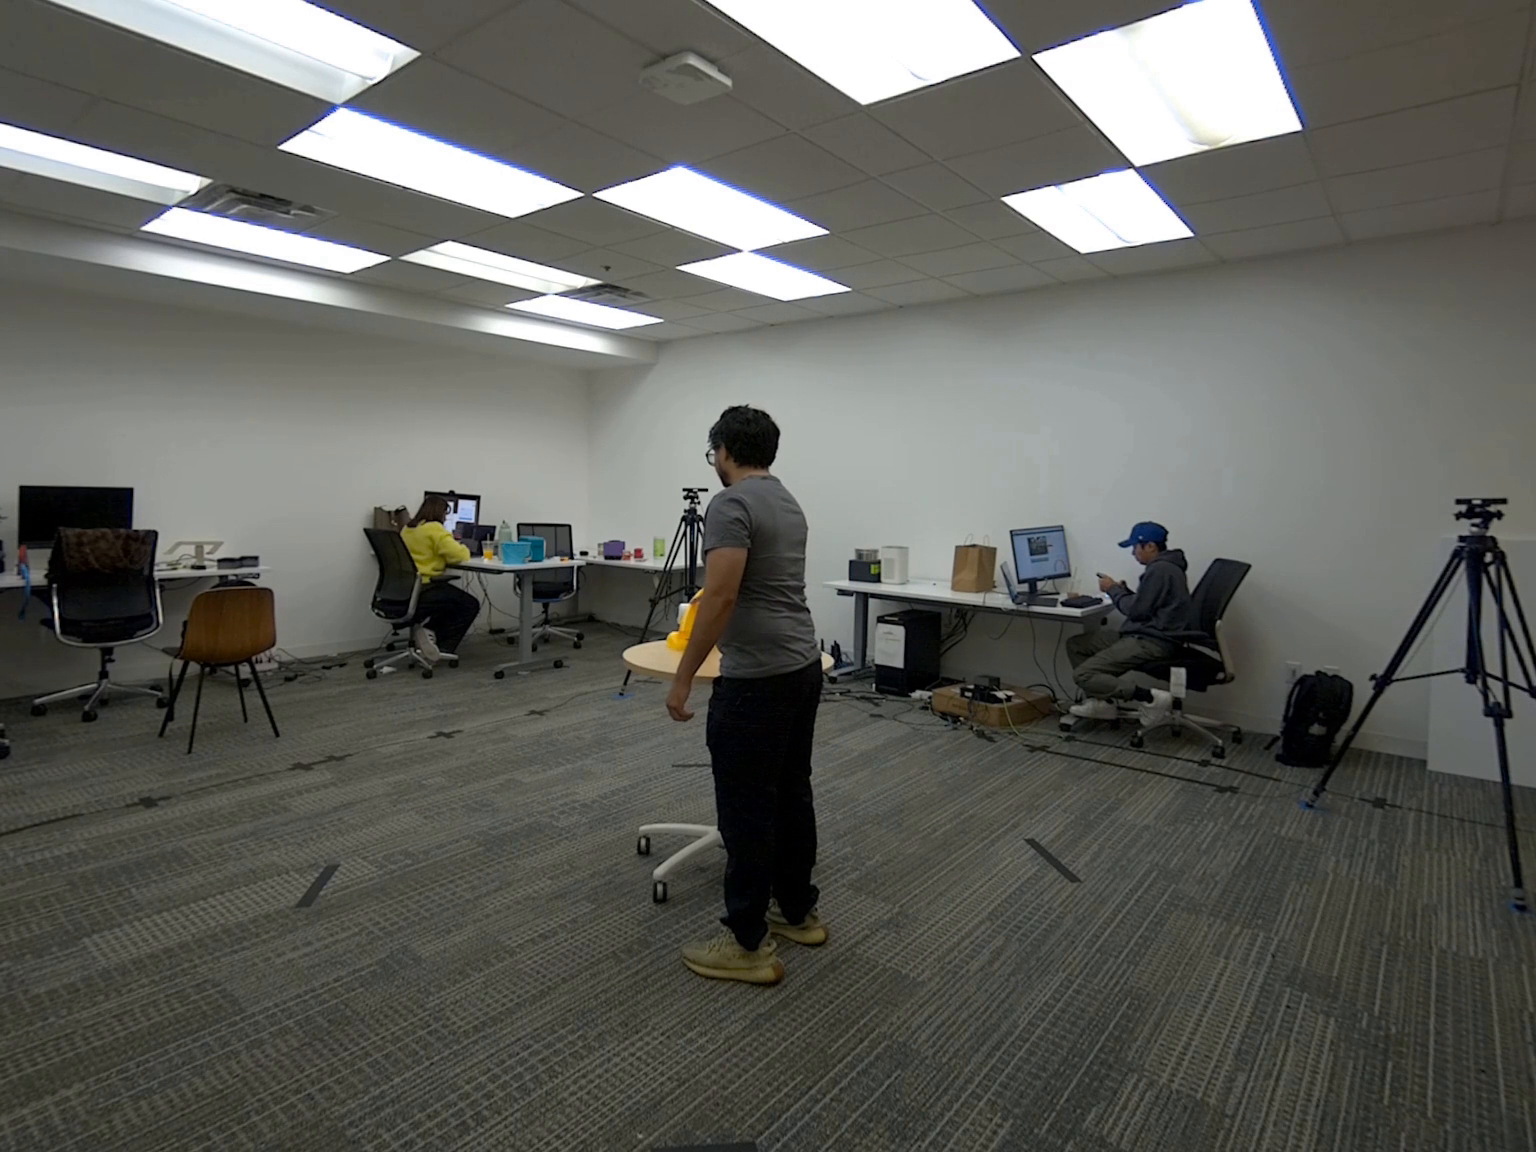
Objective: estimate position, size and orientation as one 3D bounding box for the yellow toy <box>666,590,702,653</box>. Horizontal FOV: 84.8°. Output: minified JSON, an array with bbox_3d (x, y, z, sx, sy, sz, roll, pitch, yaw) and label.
[{"bbox_3d":[-0.289,0.153,3.262,0.199,0.230,0.199,-1,5,-34],"label":"yellow toy"}]
